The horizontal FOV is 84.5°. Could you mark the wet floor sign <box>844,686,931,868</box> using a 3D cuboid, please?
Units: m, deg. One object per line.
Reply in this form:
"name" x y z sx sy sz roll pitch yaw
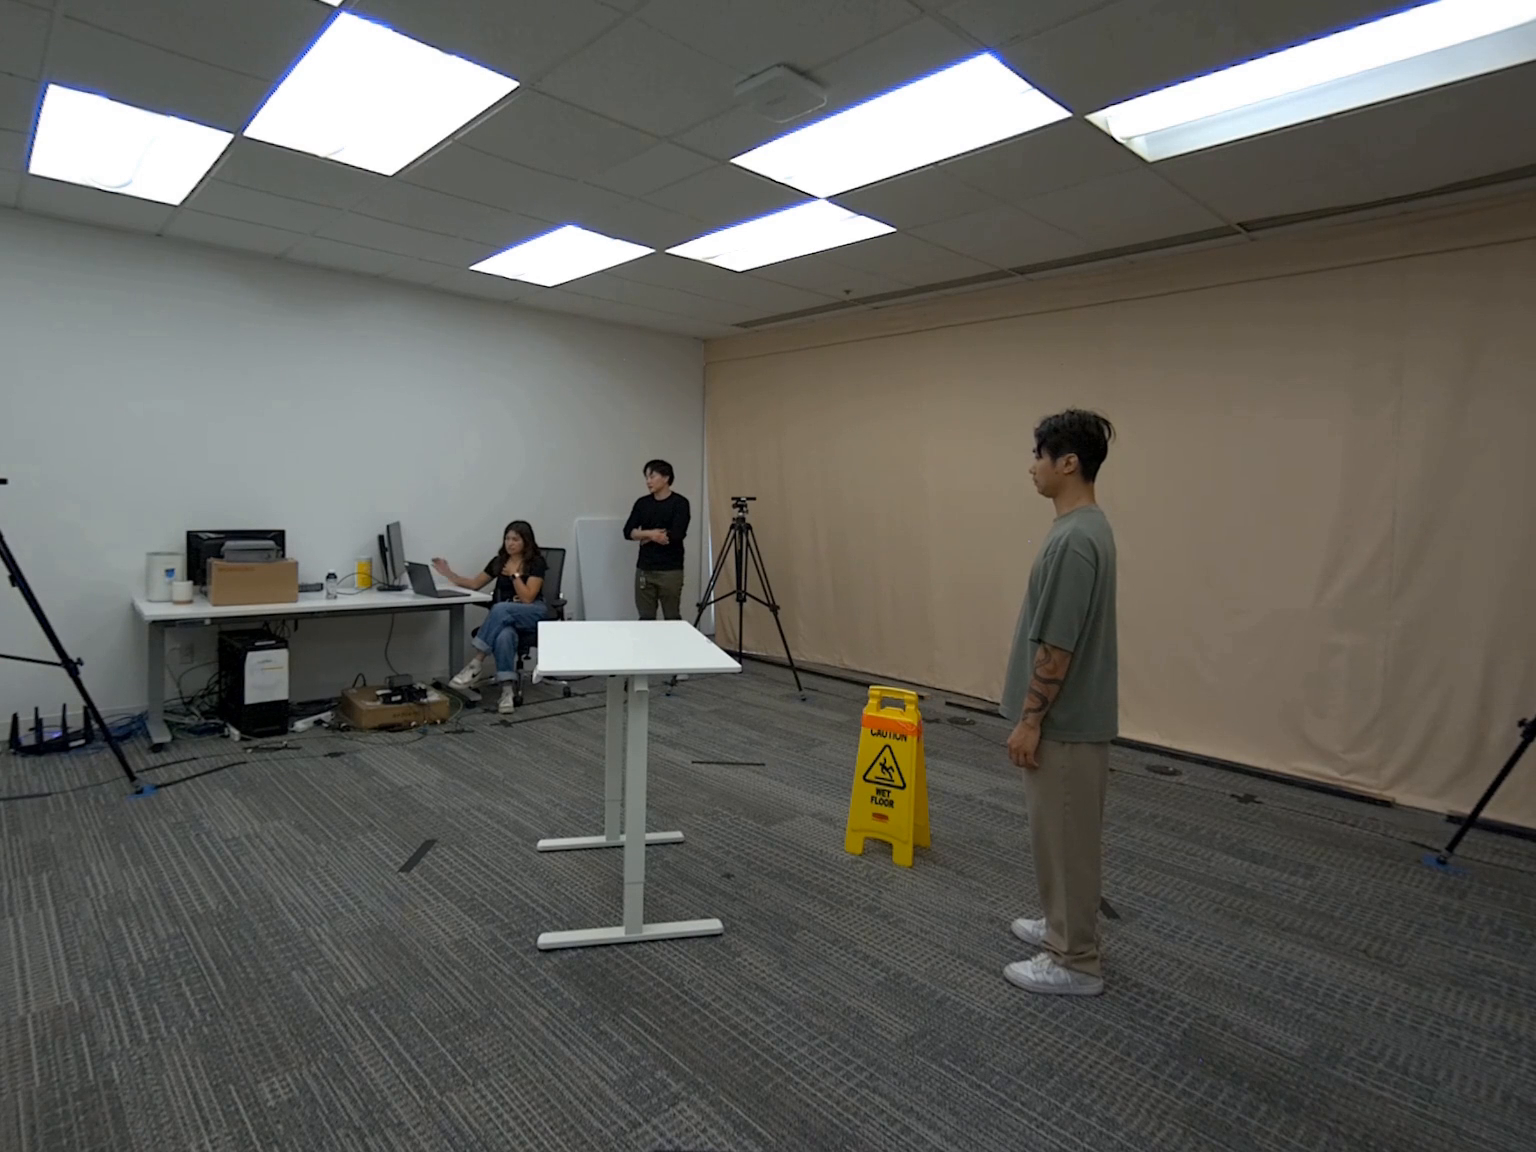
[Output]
"wet floor sign" 0.483 0.775 3.375 0.288 0.645 0.284 4 3 28
